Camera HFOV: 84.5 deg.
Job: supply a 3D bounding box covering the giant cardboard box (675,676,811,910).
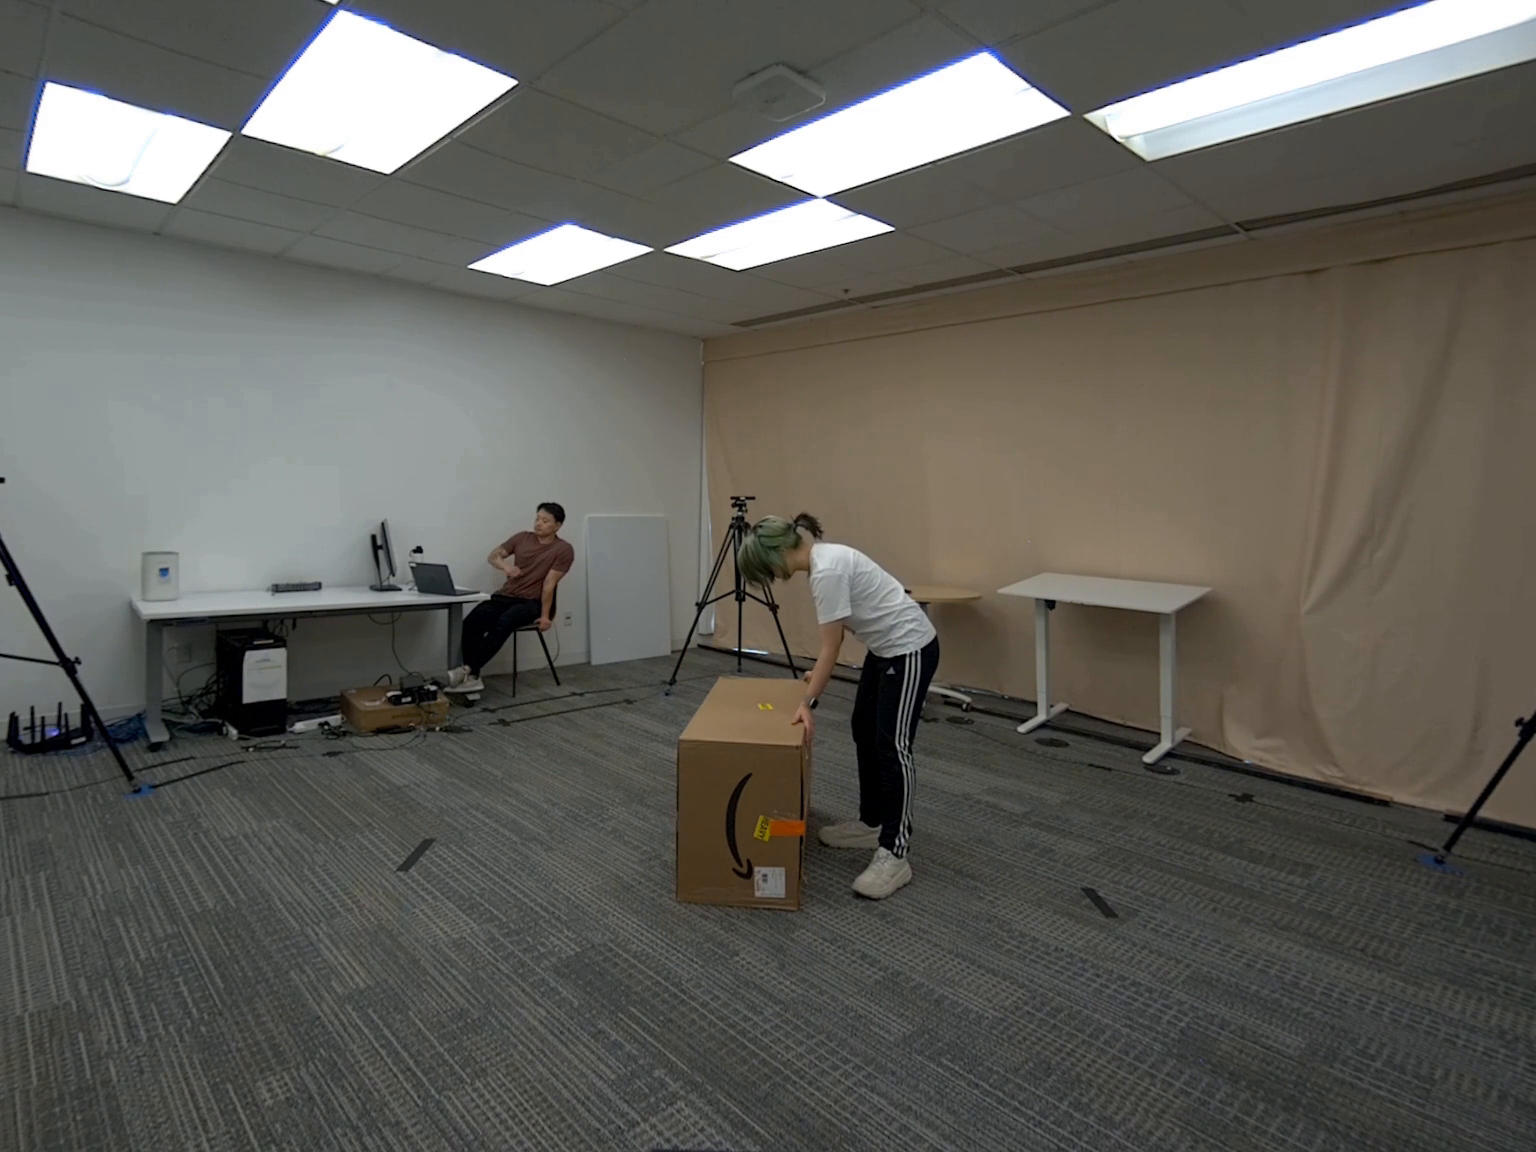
[{"bbox_3d":[-0.064,0.797,3.349,0.428,0.576,1.024,1,5,5],"label":"giant cardboard box"}]
